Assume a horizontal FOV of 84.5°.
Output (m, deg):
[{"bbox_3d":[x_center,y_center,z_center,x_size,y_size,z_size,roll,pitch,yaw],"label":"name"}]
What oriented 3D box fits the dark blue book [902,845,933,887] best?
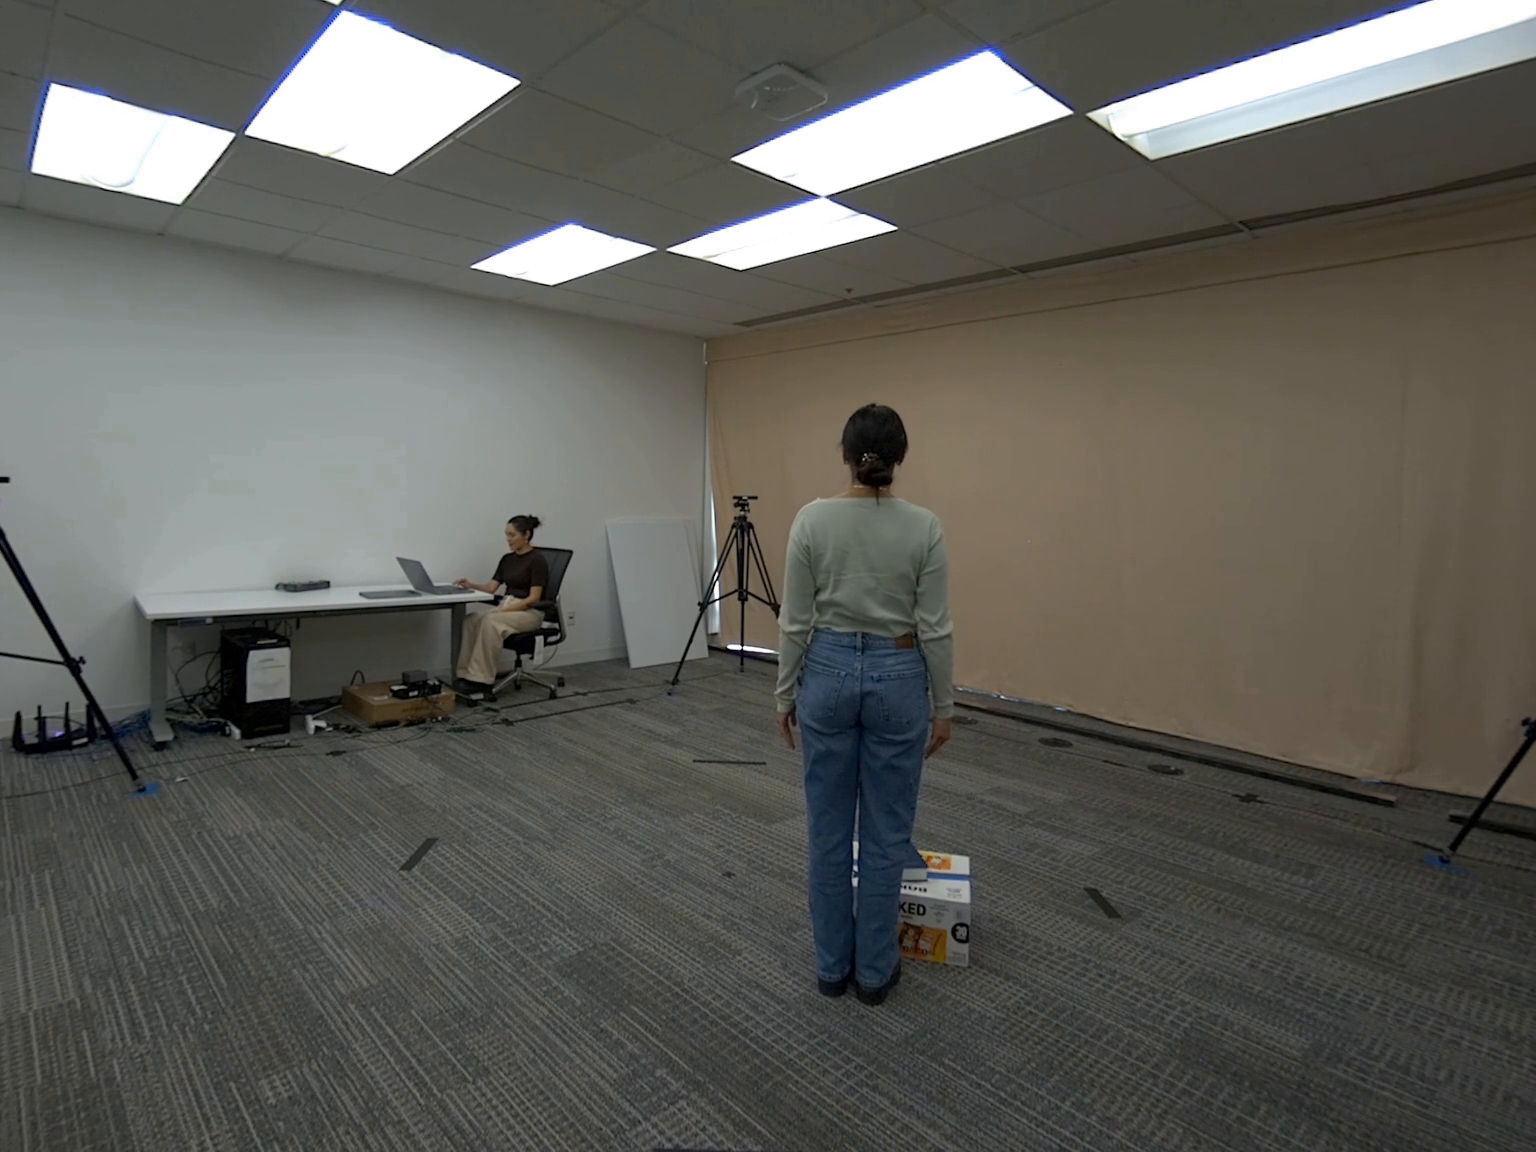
[{"bbox_3d":[0.416,0.933,2.772,0.162,0.045,0.247,2,6,-8],"label":"dark blue book"}]
